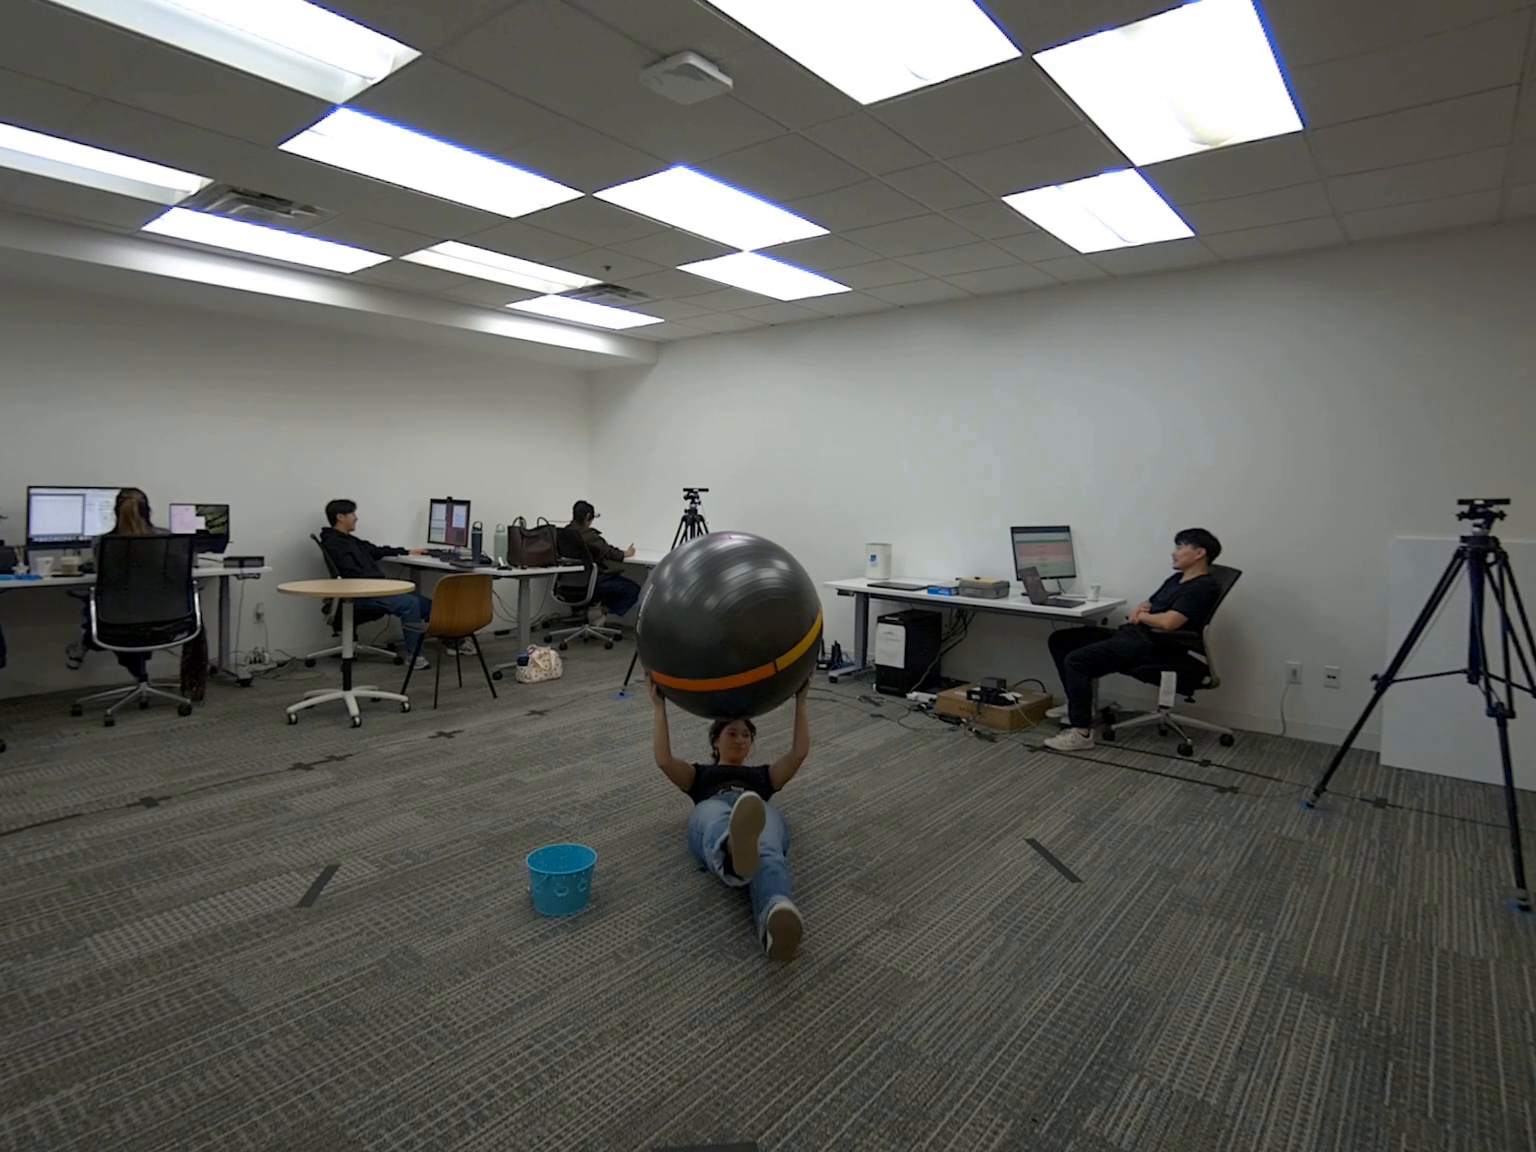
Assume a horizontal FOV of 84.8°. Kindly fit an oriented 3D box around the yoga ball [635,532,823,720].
[{"bbox_3d":[-0.167,0.198,3.432,0.757,0.755,0.762,1,4,-2],"label":"yoga ball"}]
